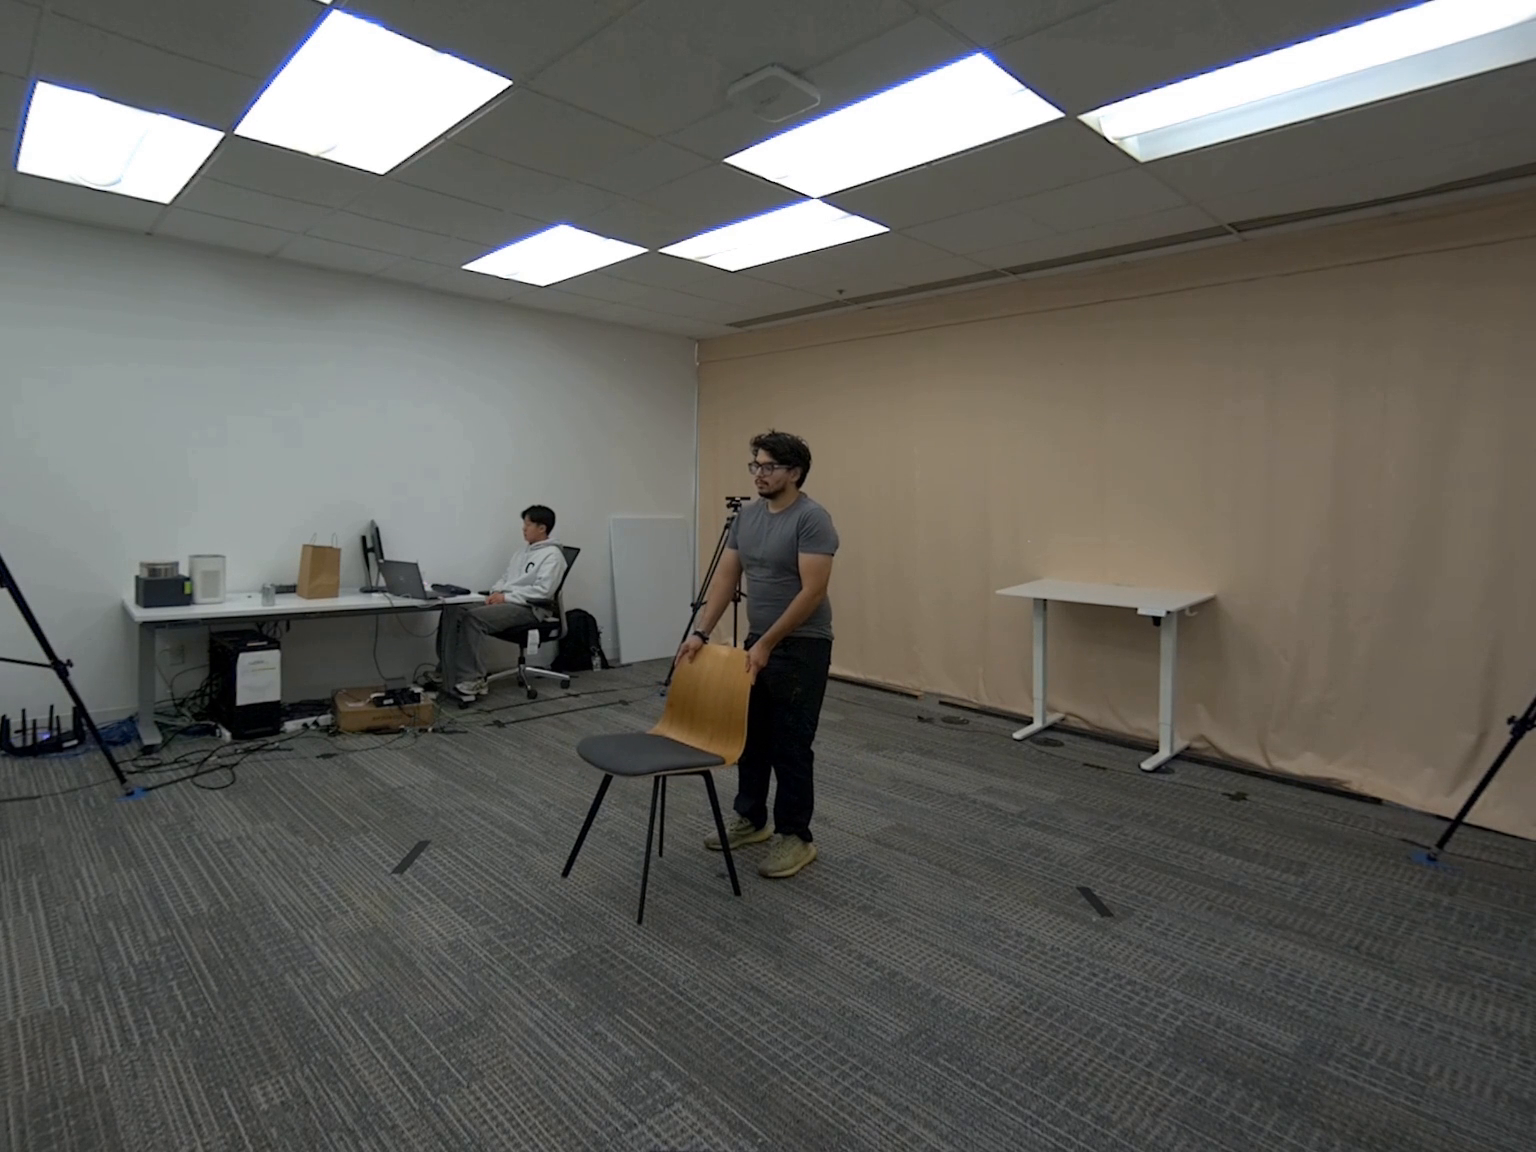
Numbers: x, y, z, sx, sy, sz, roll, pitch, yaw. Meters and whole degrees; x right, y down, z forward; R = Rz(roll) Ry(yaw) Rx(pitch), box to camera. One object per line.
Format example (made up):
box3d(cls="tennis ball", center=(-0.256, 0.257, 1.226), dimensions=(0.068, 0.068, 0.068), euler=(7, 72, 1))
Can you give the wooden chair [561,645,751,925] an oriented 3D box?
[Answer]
box3d(cls="wooden chair", center=(-0.376, 0.664, 2.947), dimensions=(0.490, 0.879, 0.508), euler=(5, -6, 45))
